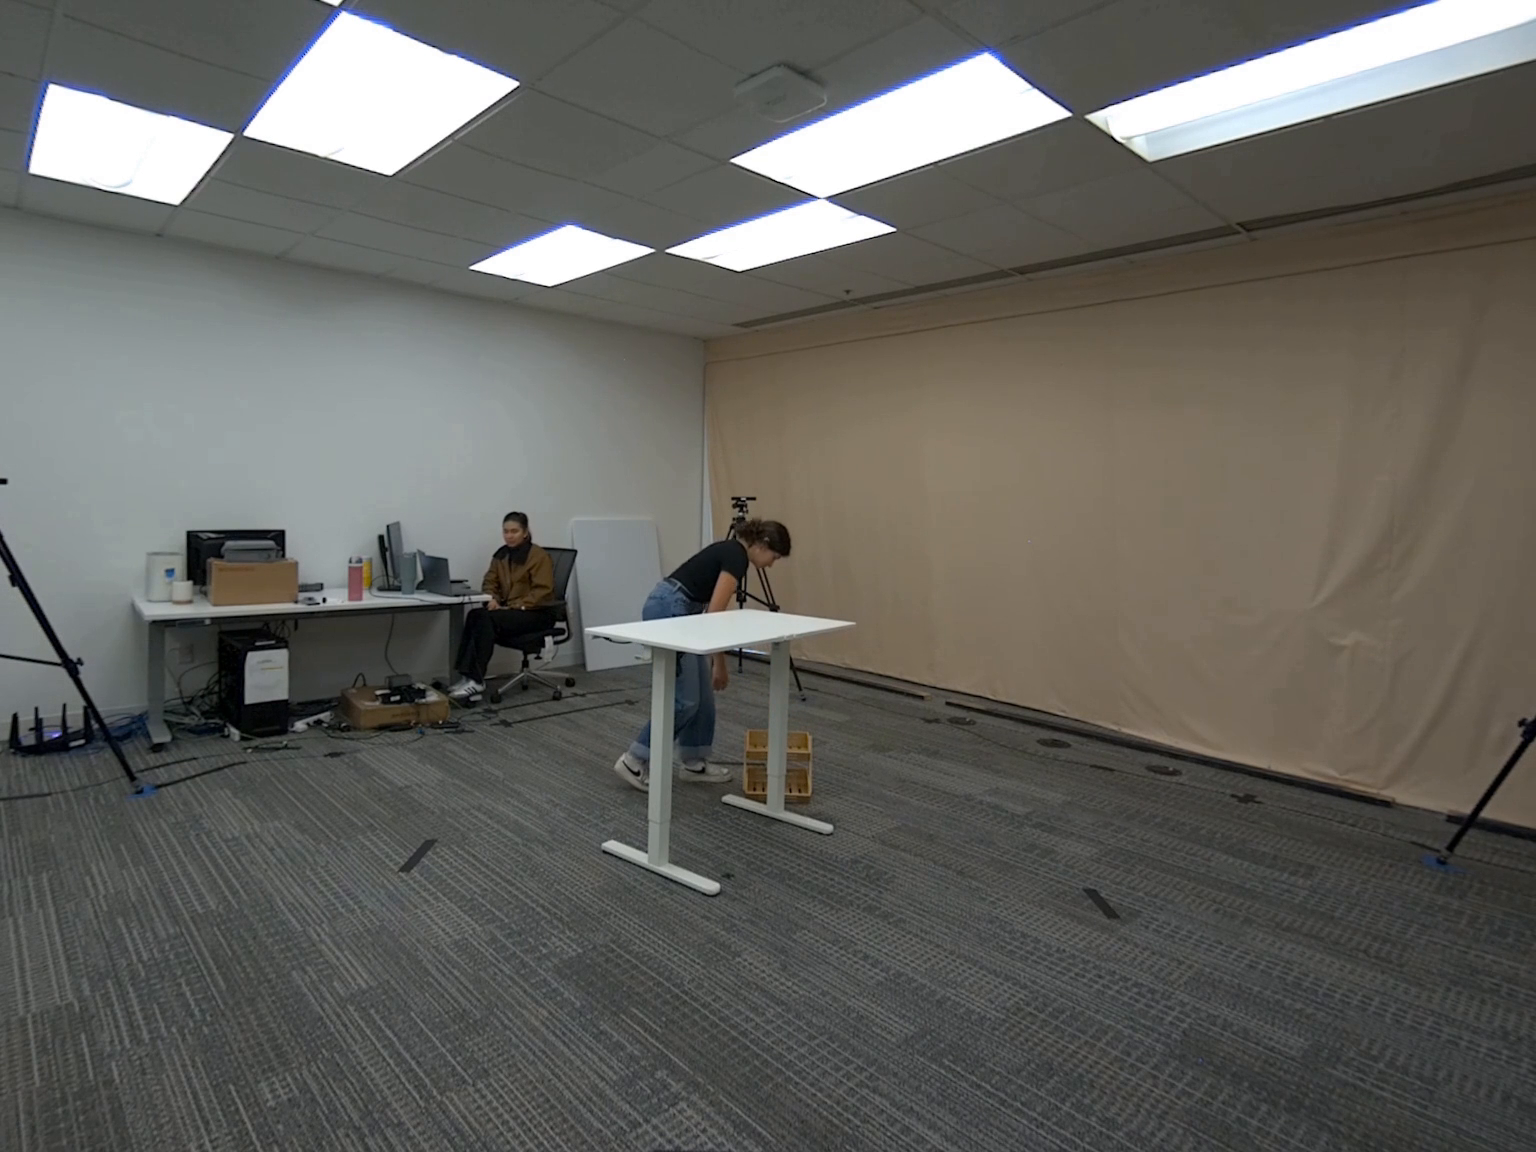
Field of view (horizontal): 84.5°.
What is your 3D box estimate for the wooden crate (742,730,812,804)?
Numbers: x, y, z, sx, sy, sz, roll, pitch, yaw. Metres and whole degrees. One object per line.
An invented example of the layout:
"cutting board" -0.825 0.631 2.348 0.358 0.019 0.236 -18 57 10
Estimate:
"wooden crate" 0.033 0.894 3.991 0.325 0.273 0.302 2 3 0
